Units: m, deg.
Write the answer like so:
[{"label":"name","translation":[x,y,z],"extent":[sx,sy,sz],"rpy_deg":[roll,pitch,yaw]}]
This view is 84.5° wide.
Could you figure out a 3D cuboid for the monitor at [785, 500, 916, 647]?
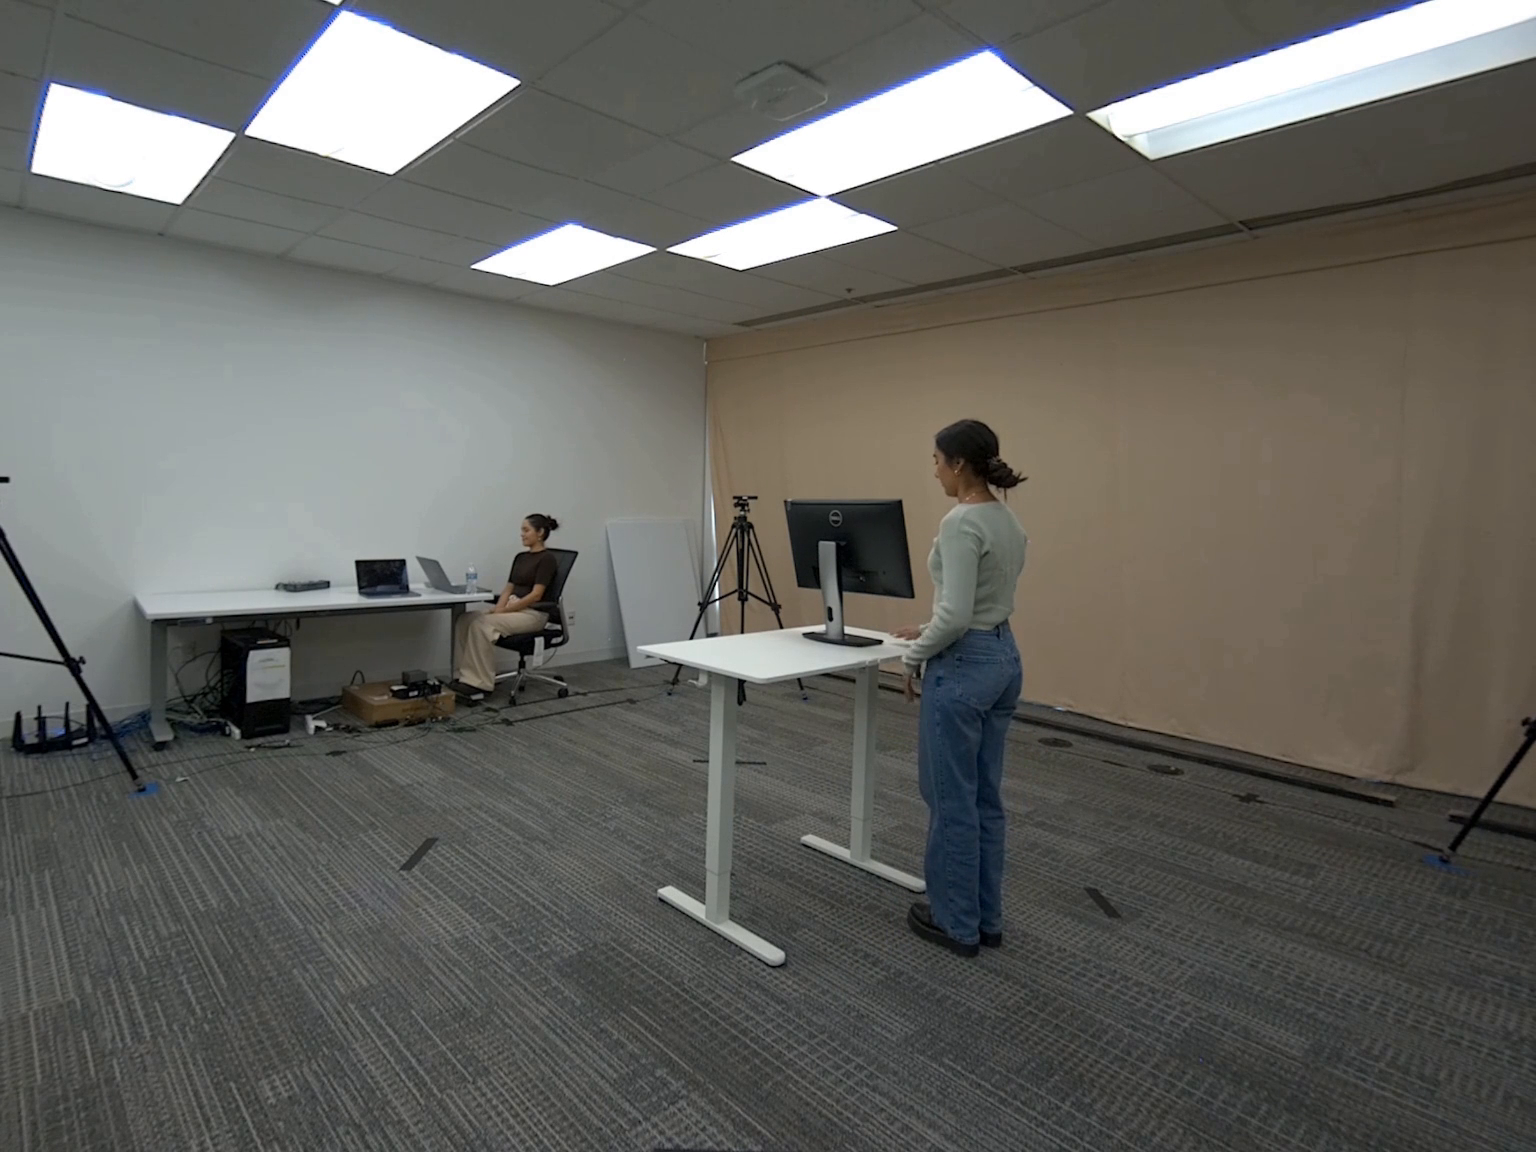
[{"label":"monitor","translation":[0.264,-0.021,3.043],"extent":[0.543,0.516,0.170],"rpy_deg":[3,1,44]}]
